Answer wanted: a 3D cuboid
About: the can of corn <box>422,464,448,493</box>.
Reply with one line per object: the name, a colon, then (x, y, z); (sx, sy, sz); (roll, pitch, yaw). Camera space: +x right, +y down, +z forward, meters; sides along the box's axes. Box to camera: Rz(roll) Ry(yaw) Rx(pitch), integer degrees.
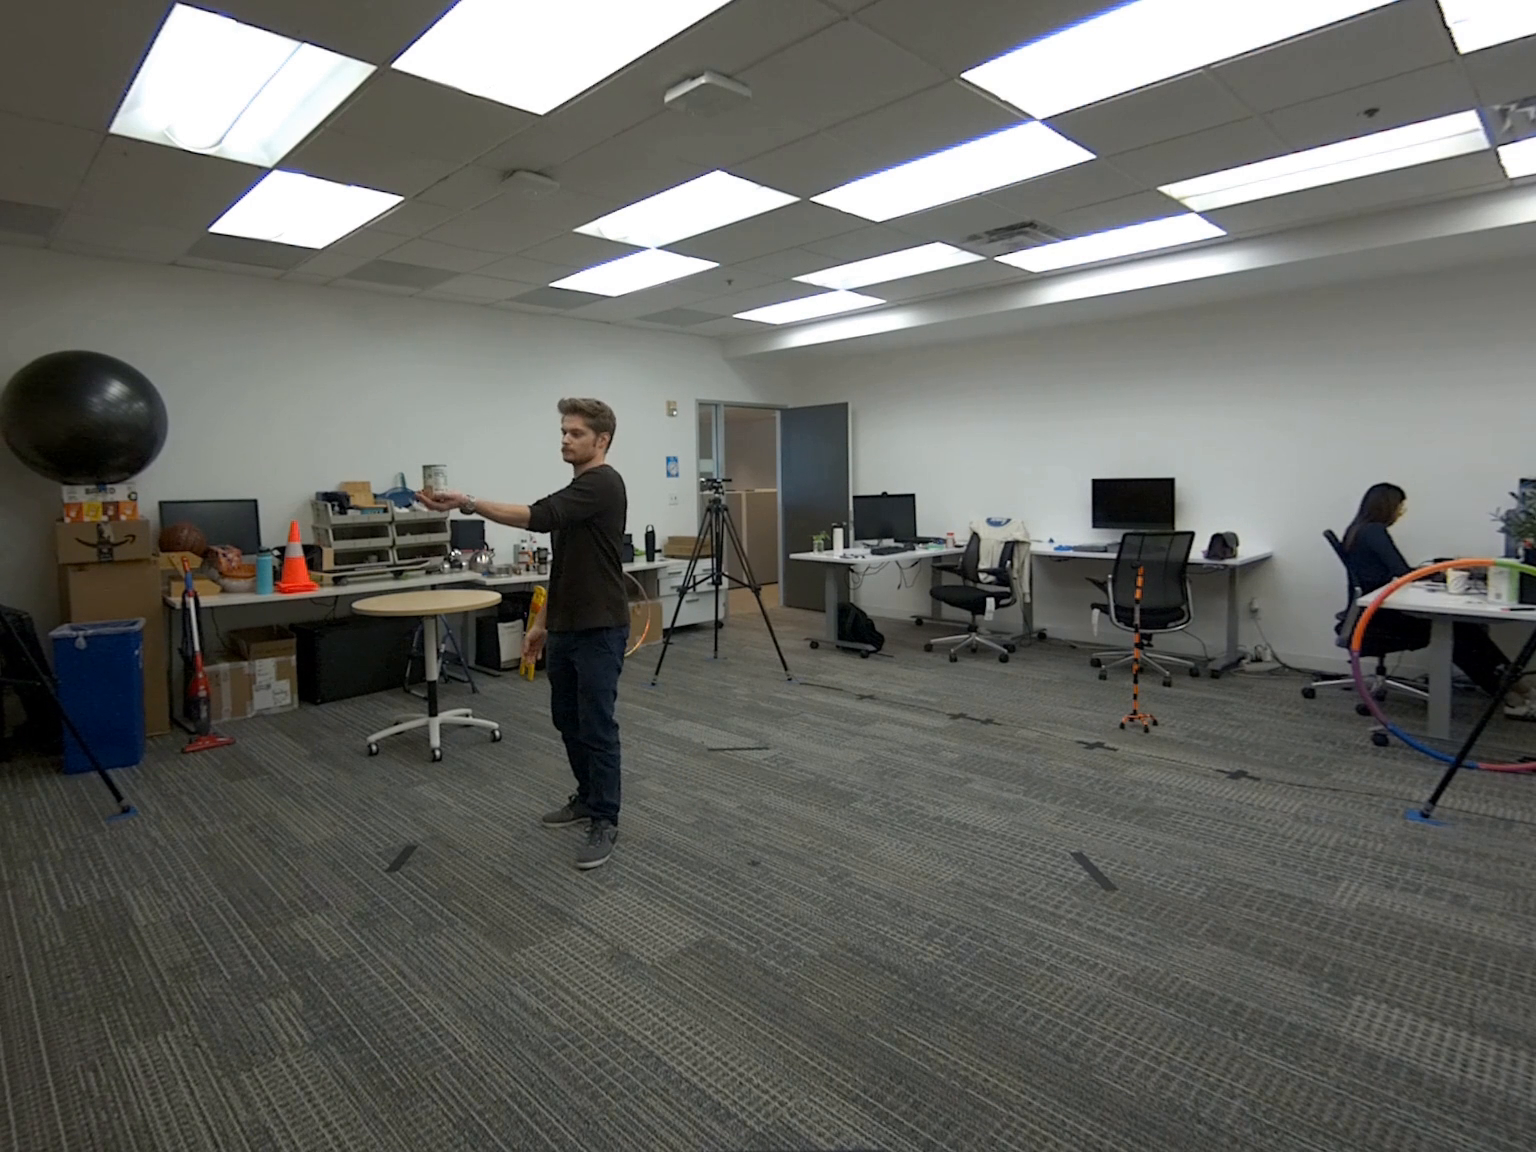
can of corn: (-1.101, -0.309, 2.808); (0.074, 0.110, 0.075); (1, 6, -2)
